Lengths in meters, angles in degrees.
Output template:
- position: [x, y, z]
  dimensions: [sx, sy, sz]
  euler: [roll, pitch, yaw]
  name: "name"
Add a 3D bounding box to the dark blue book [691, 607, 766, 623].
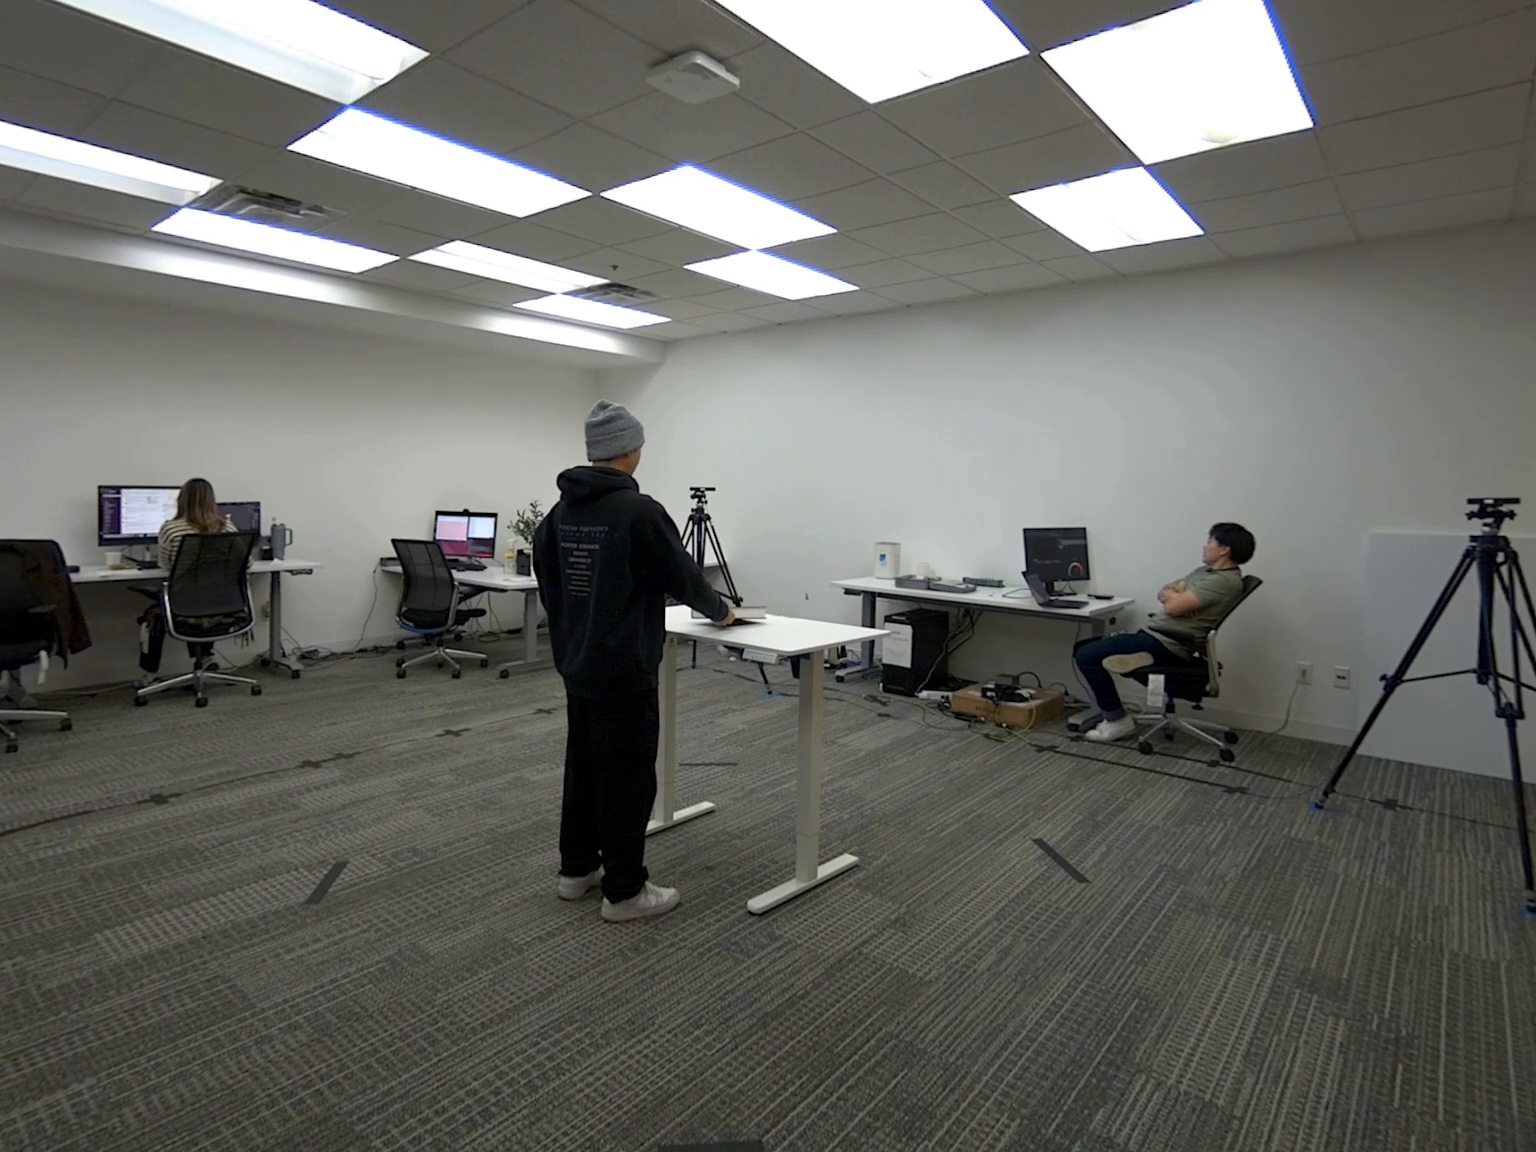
- position: [-0.158, 0.134, 3.207]
  dimensions: [0.237, 0.045, 0.168]
  euler: [2, -3, -44]
  name: "dark blue book"
